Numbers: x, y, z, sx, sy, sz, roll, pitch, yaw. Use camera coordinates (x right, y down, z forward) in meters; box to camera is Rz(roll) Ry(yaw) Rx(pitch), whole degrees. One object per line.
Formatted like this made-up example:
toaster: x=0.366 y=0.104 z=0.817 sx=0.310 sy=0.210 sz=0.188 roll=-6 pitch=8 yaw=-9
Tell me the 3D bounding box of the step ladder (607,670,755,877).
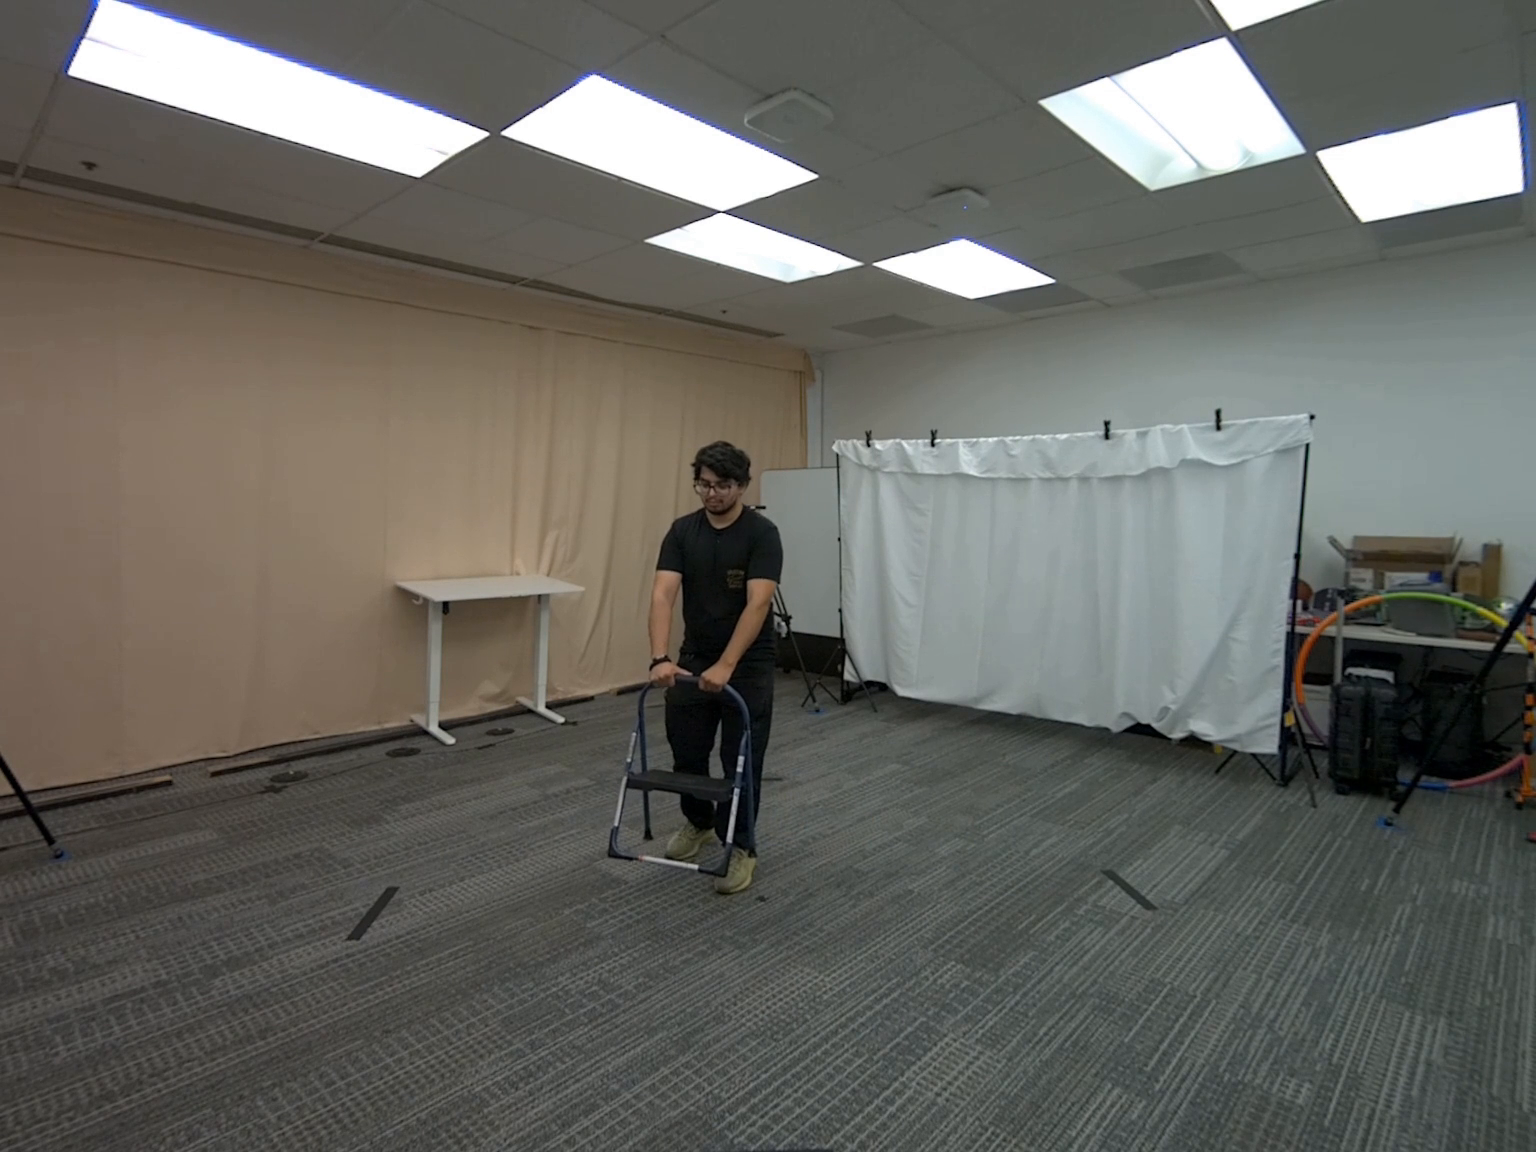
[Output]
step ladder: x=-0.264 y=0.649 z=2.879 sx=0.439 sy=0.608 sz=0.341 roll=2 pitch=-7 yaw=18
